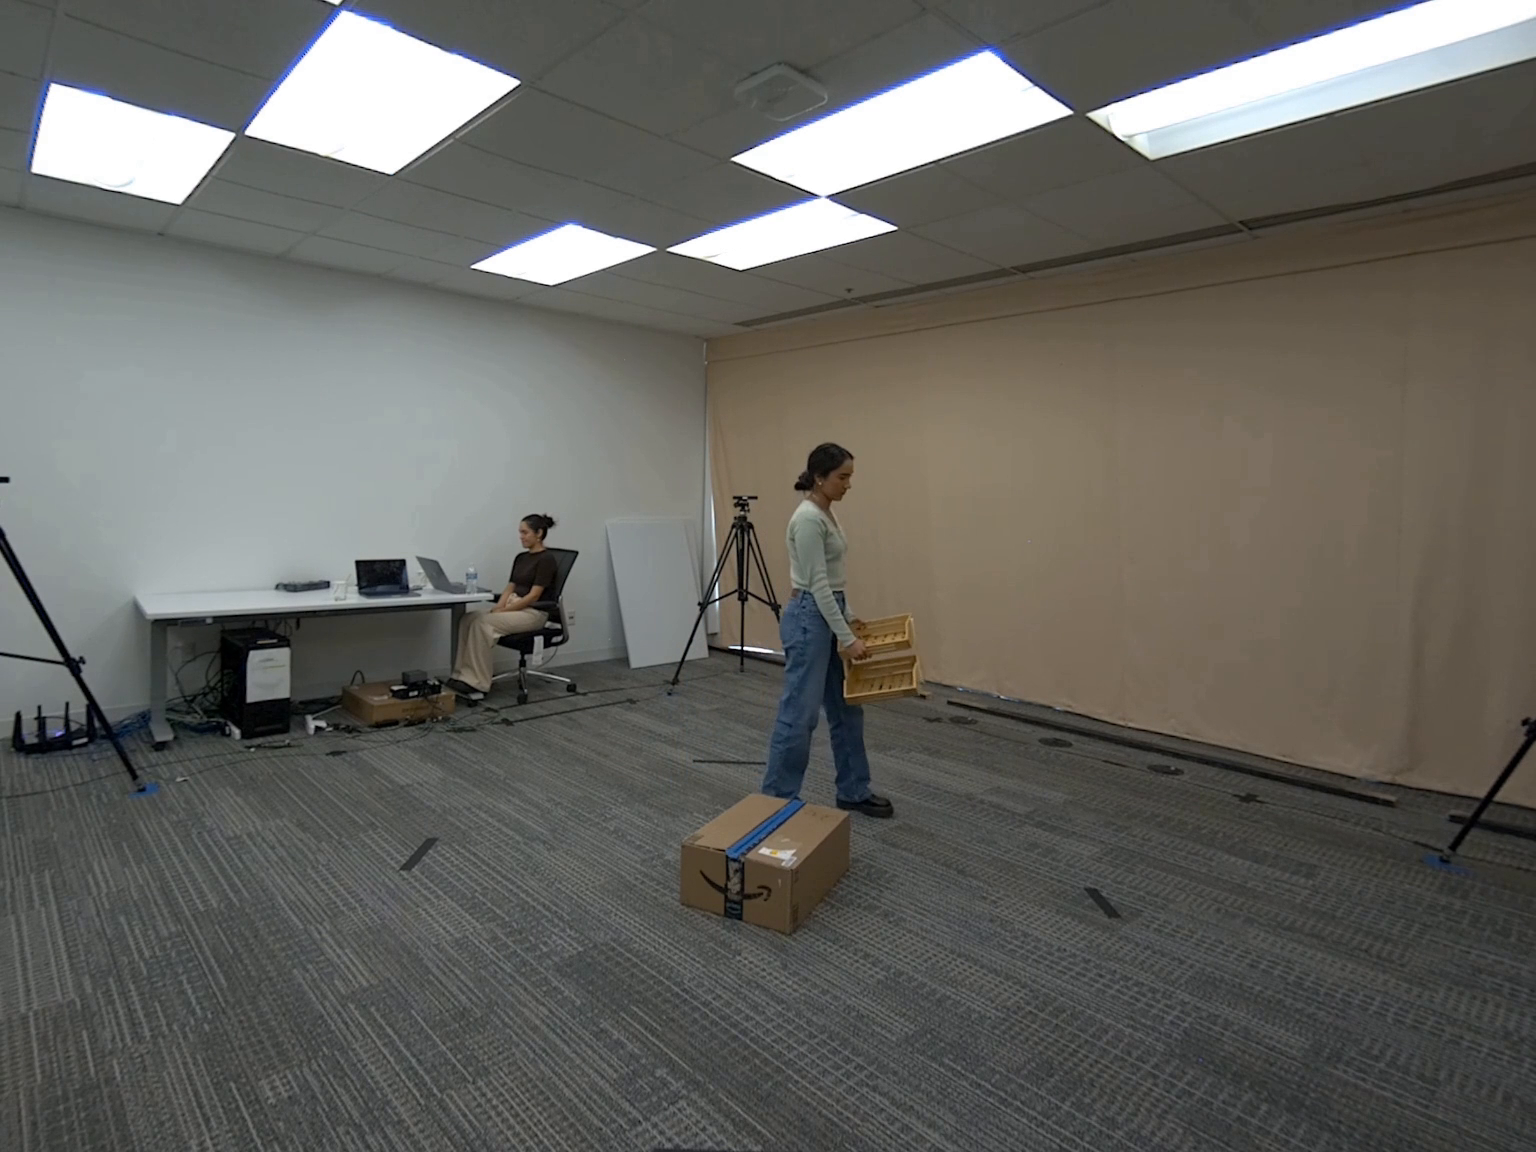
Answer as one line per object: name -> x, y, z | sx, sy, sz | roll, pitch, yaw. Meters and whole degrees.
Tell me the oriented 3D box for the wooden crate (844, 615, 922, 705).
wooden crate -> 0.463, 0.343, 3.515 | 0.328, 0.271, 0.301 | -14, 10, 17
